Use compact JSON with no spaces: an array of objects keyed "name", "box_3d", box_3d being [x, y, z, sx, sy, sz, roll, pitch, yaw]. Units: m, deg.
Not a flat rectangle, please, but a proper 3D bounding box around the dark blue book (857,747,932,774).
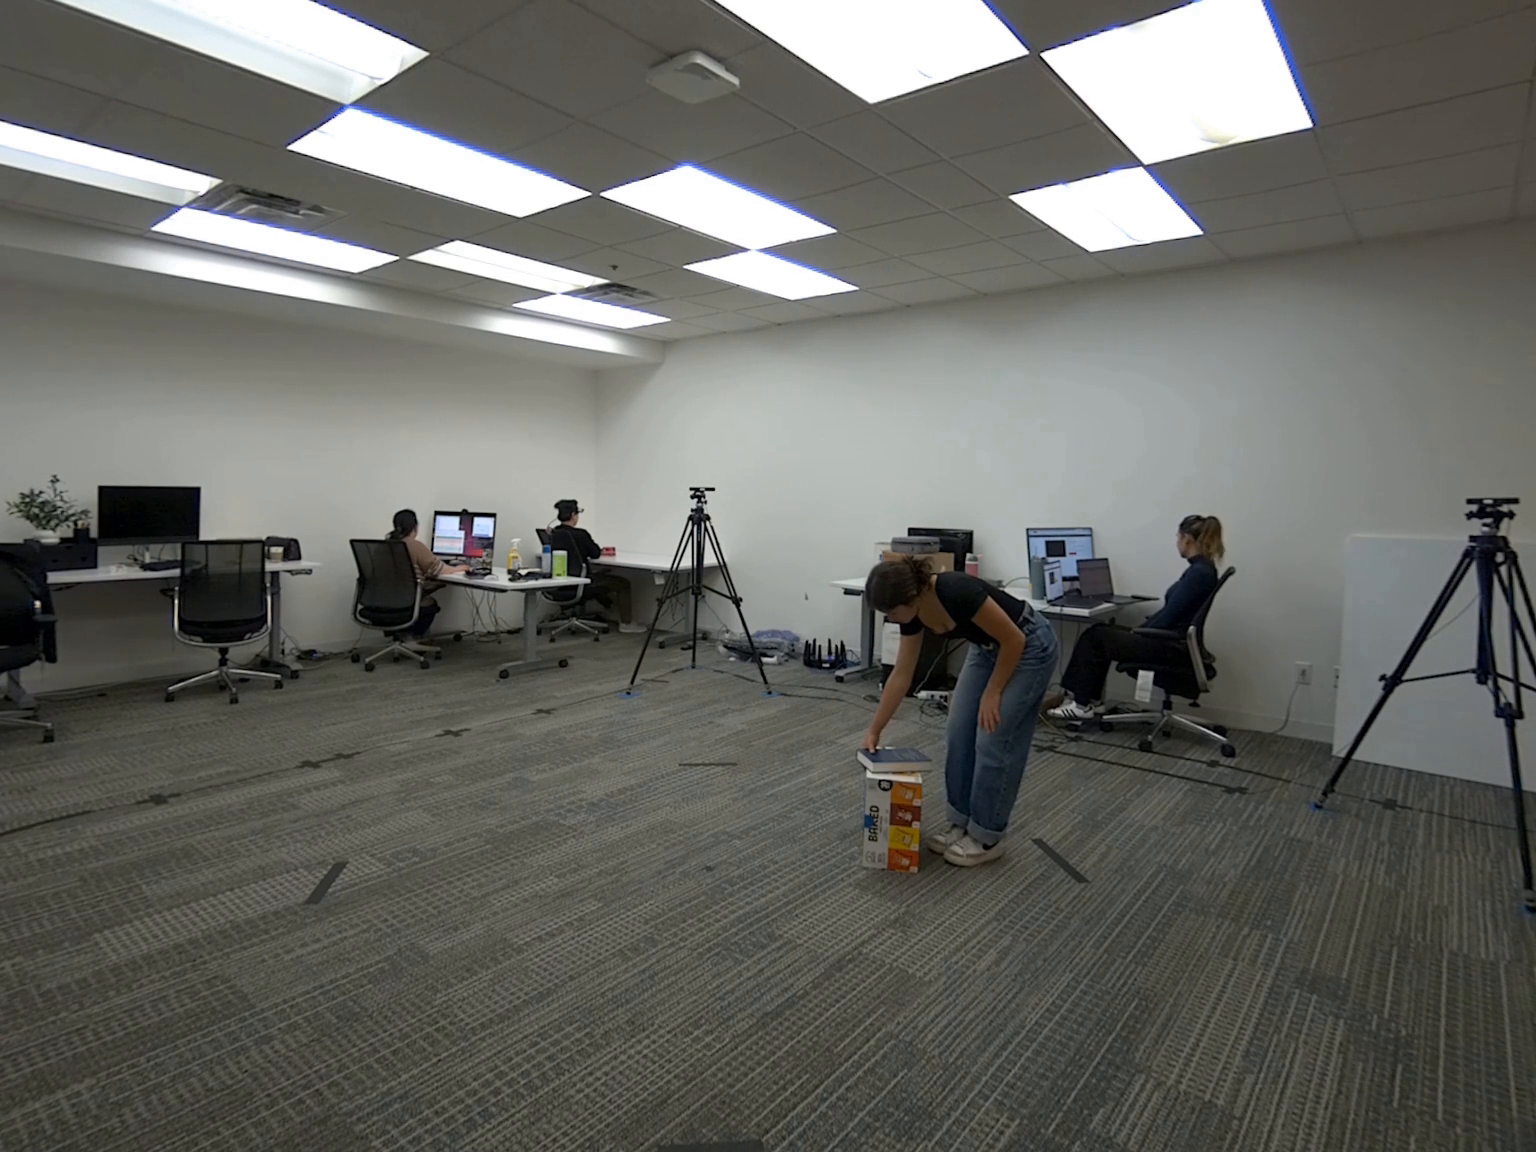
[{"name":"dark blue book","box_3d":[0.483,0.716,3.278,0.242,0.045,0.166,2,5,-13]}]
